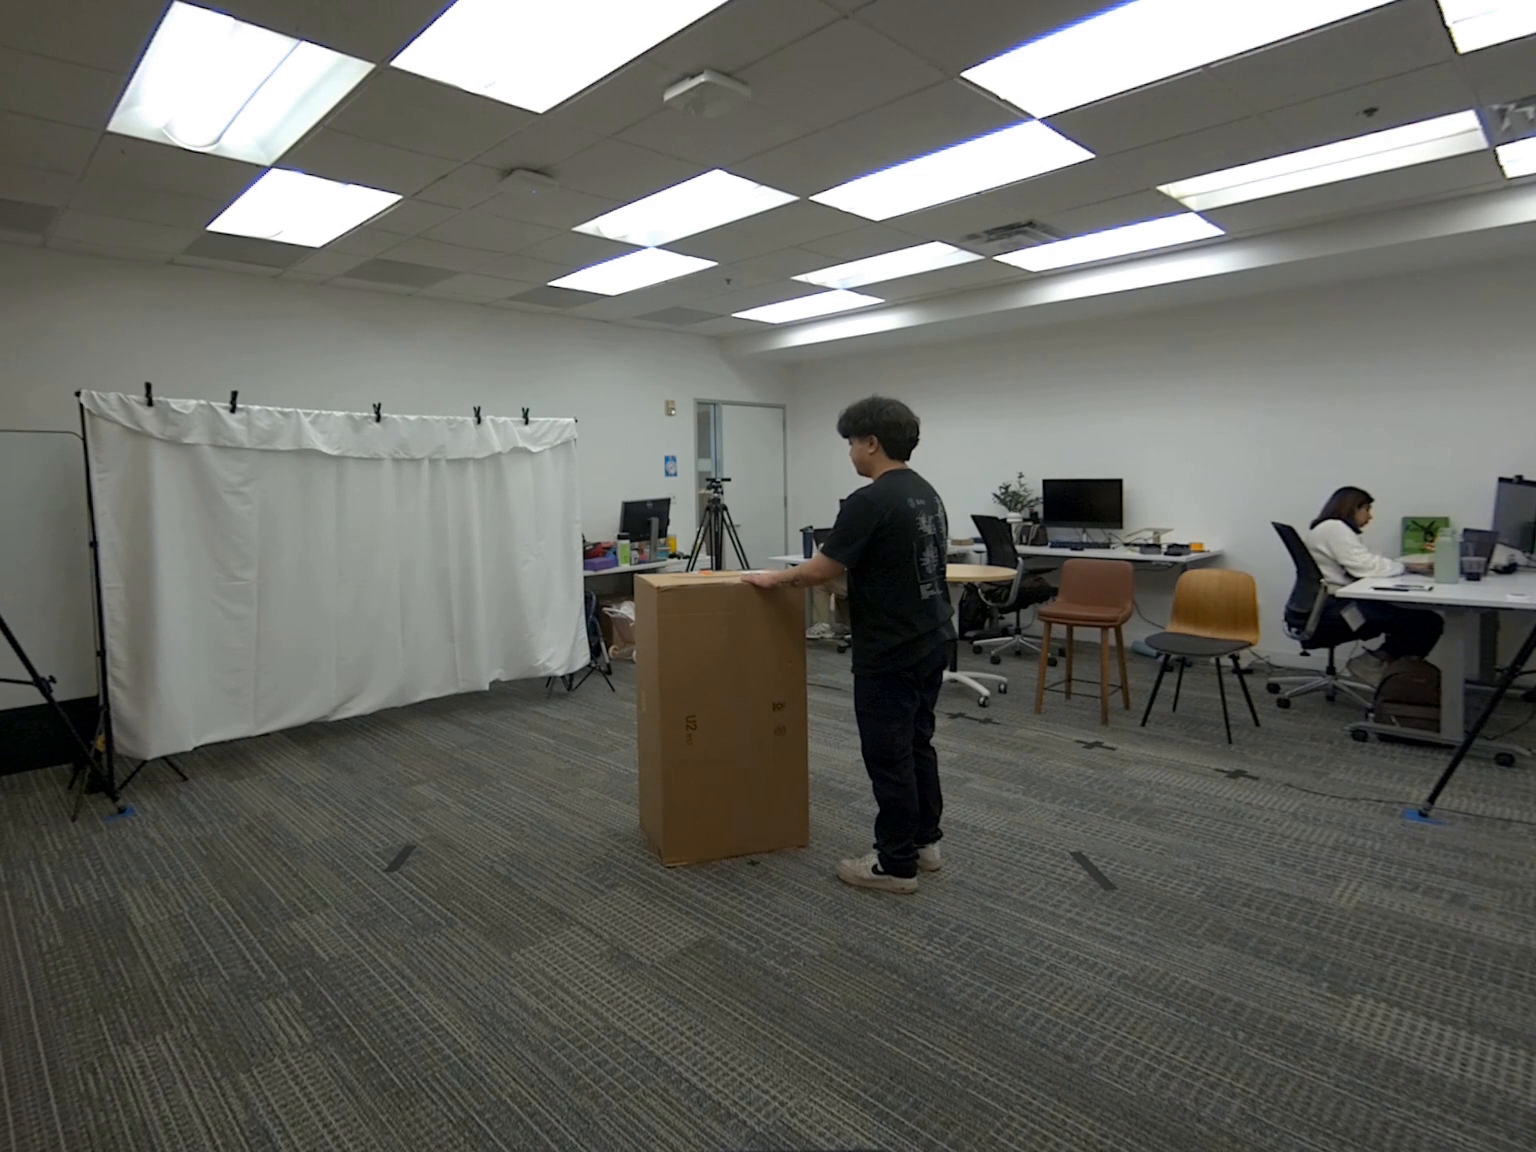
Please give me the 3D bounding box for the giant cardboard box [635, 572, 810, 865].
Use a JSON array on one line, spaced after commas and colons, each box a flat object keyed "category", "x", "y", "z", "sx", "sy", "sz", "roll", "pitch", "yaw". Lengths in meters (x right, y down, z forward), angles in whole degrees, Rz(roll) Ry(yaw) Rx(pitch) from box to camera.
[{"category": "giant cardboard box", "x": -0.190, "y": 0.507, "z": 3.333, "sx": 0.575, "sy": 1.024, "sz": 0.455, "roll": -2, "pitch": 4, "yaw": -18}]
